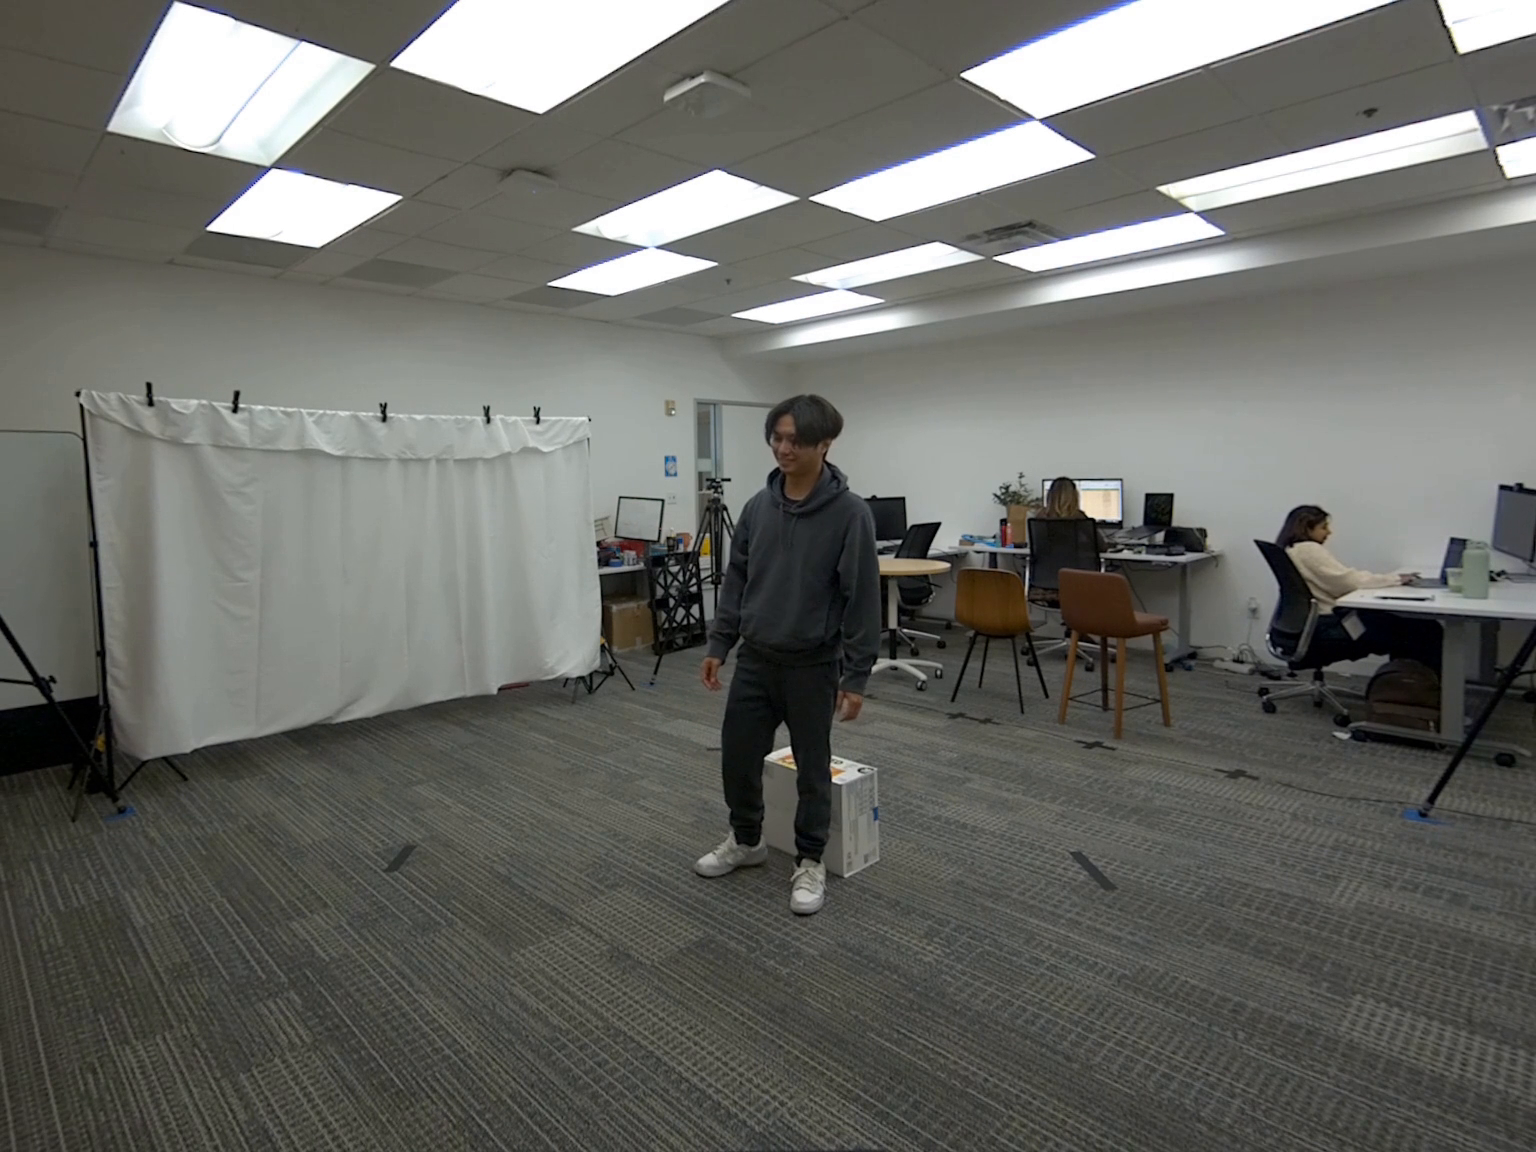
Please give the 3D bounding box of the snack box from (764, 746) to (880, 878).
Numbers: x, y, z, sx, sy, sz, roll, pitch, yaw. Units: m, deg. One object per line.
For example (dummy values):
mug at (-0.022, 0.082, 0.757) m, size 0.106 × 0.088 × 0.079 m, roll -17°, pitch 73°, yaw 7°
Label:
snack box at (0.191, 0.862, 3.178) m, size 0.200 × 0.339 × 0.418 m, roll -7°, pitch 8°, yaw -43°
